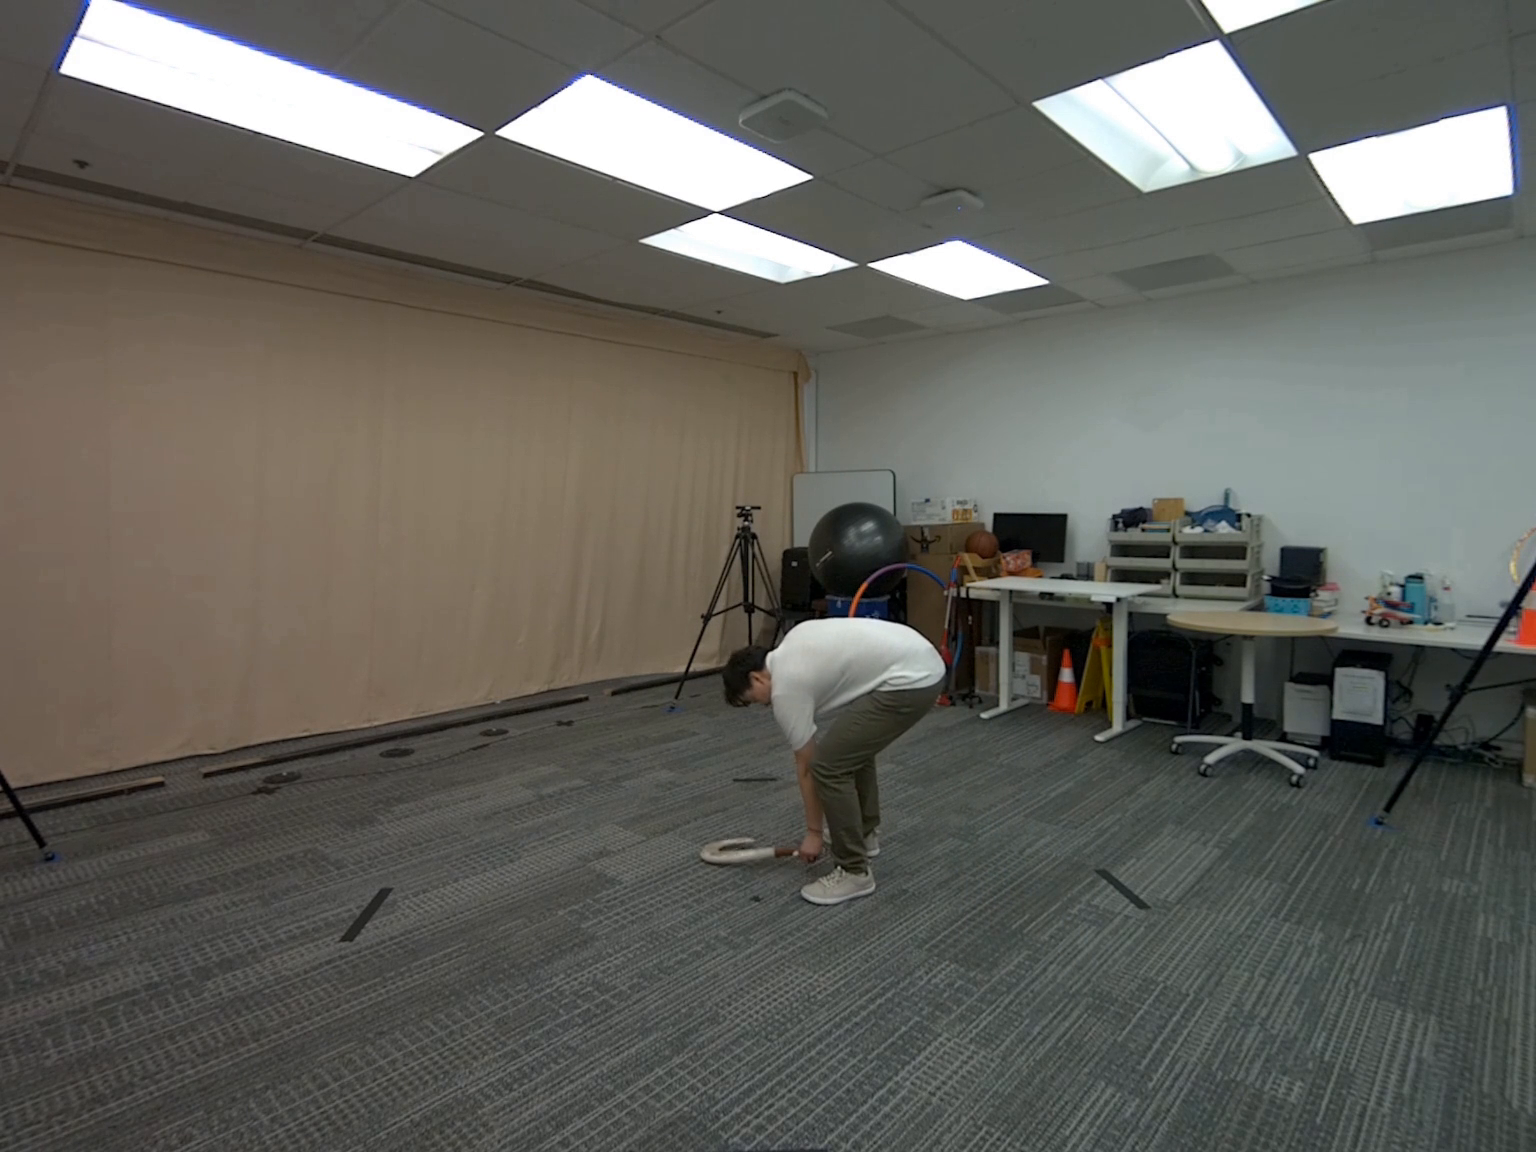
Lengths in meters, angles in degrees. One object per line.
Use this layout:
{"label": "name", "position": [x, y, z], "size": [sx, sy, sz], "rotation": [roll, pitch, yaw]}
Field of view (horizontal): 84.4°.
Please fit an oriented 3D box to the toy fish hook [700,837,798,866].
{"label": "toy fish hook", "position": [-0.016, 1.062, 3.310], "size": [0.514, 0.048, 0.222], "rotation": [-6, 6, 15]}
